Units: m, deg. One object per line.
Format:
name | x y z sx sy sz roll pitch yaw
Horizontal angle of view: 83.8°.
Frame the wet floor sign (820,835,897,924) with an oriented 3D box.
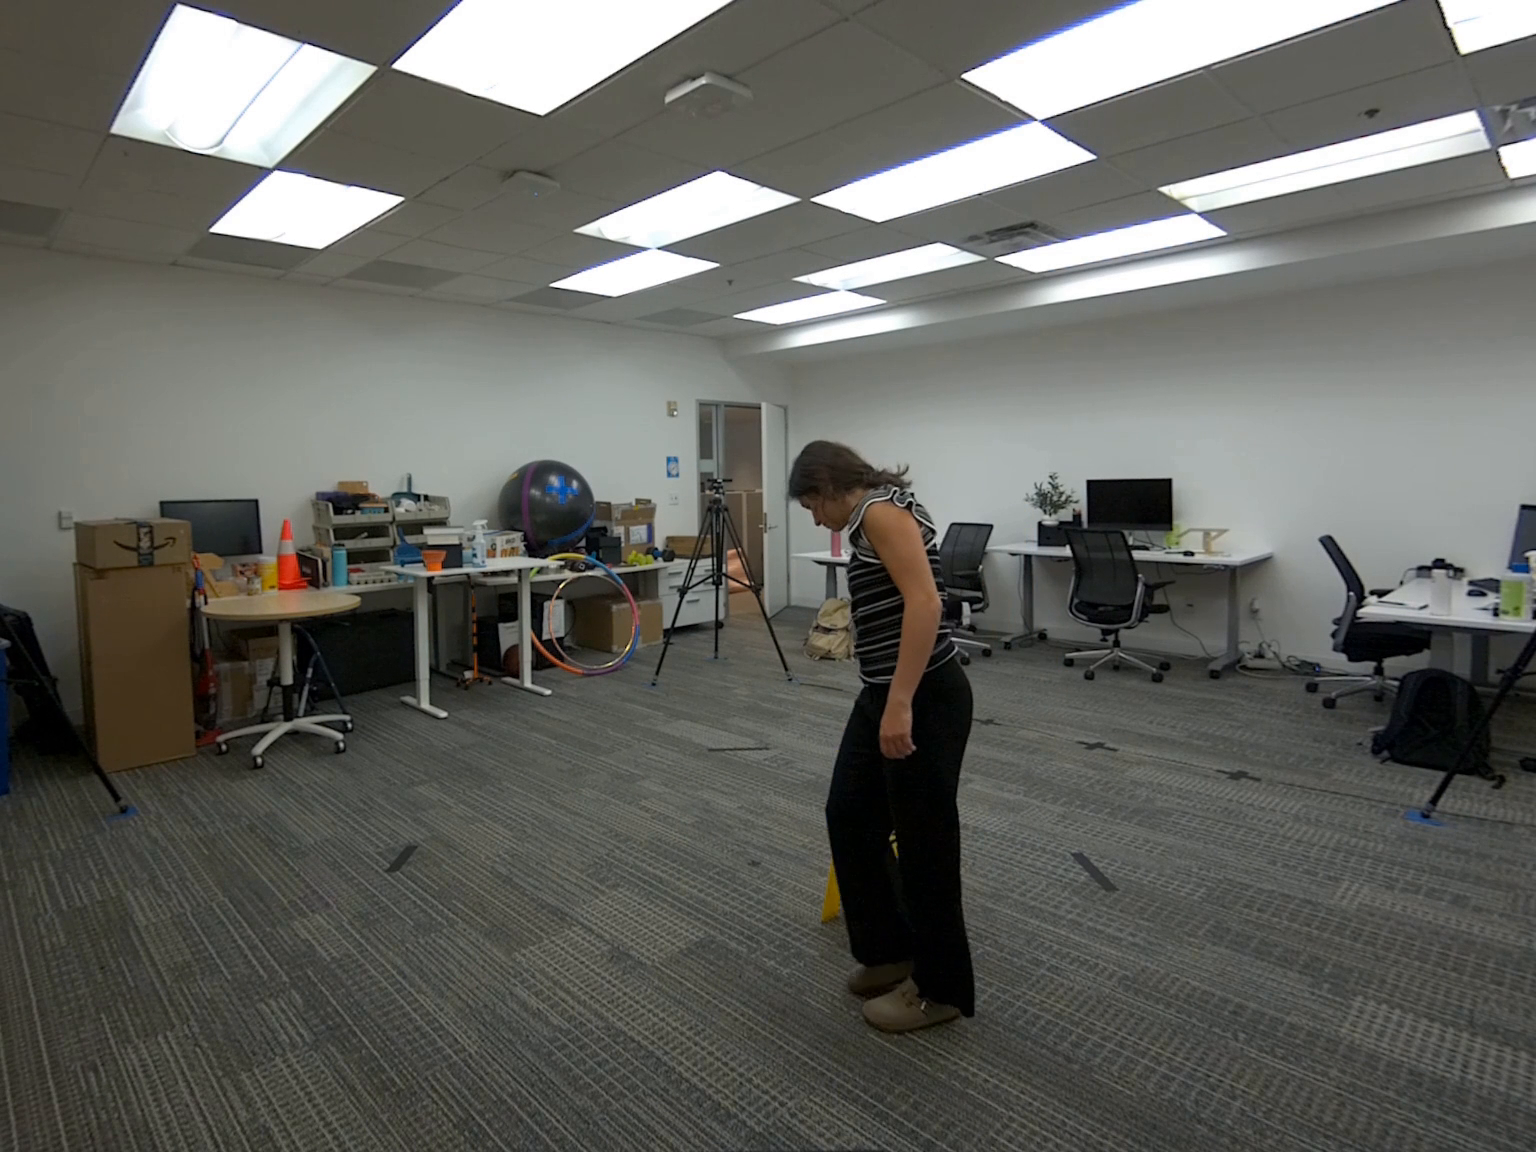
wet floor sign | 0.360 0.763 2.679 0.298 0.643 0.275 3 6 41
